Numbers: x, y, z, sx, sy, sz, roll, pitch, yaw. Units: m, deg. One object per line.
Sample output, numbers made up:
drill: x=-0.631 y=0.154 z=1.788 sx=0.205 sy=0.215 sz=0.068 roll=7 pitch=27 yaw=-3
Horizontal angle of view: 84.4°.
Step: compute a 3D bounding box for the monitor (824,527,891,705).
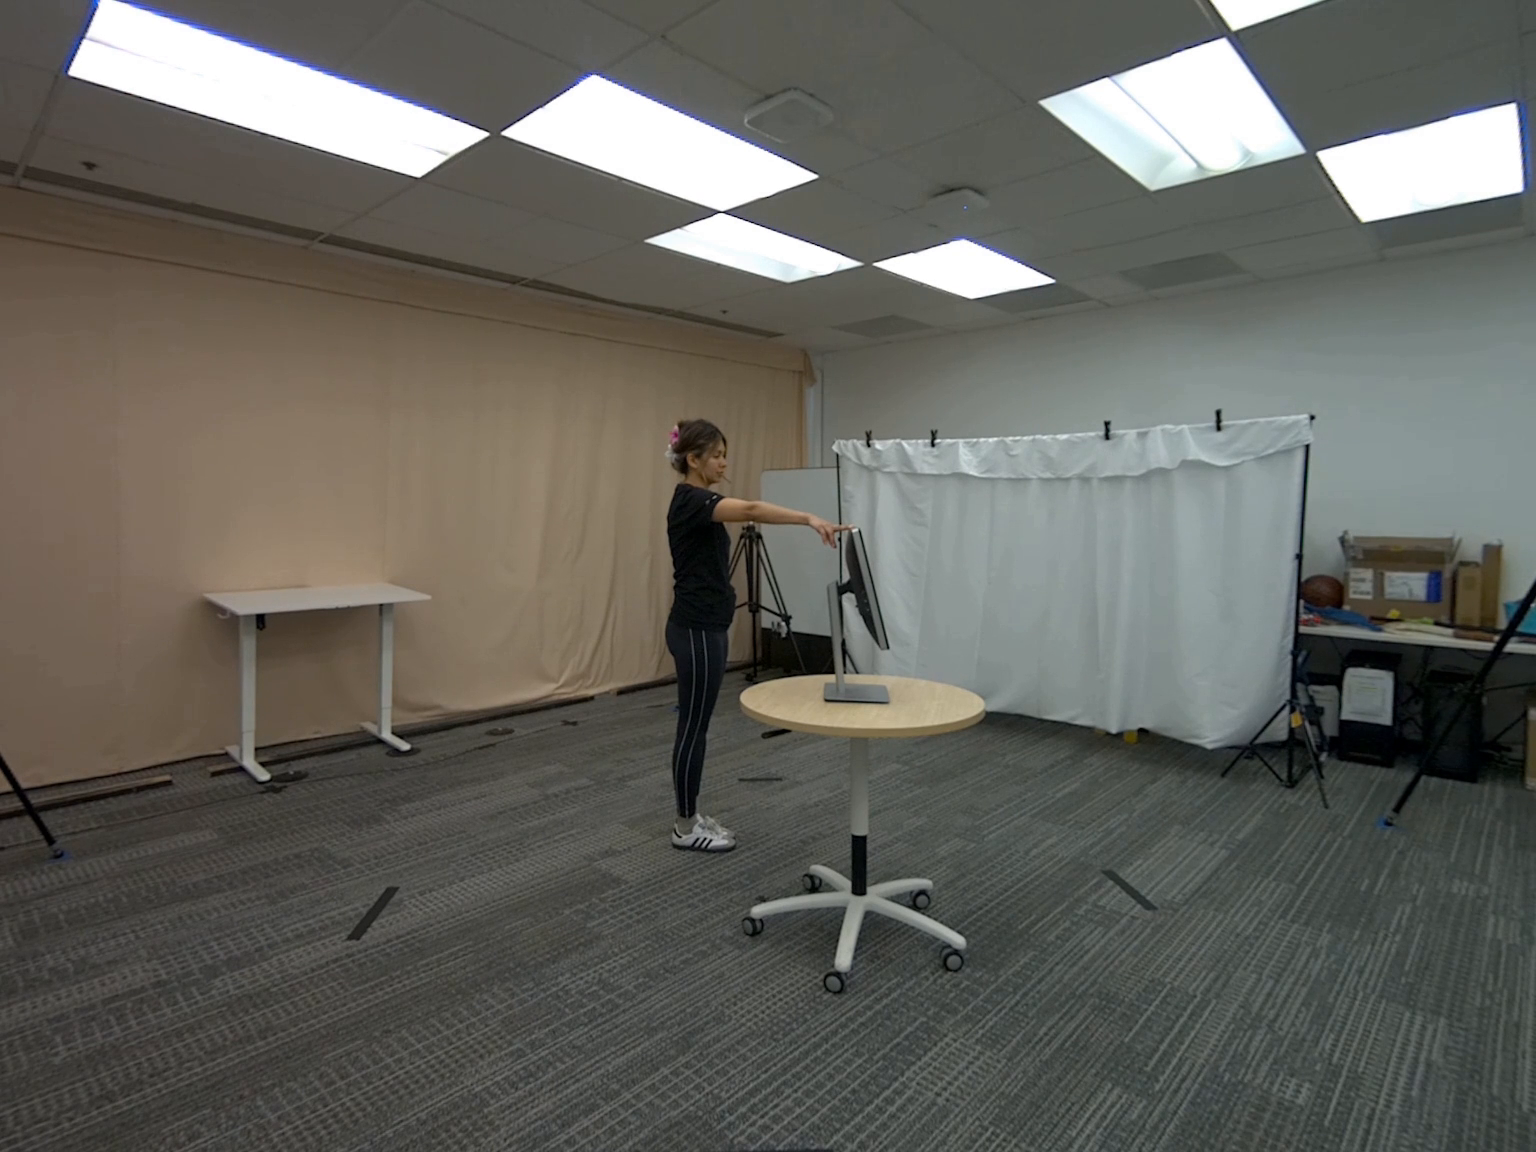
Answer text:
monitor: x=0.283 y=0.123 z=2.725 sx=0.188 sy=0.522 sz=0.537 roll=0 pitch=3 yaw=4
